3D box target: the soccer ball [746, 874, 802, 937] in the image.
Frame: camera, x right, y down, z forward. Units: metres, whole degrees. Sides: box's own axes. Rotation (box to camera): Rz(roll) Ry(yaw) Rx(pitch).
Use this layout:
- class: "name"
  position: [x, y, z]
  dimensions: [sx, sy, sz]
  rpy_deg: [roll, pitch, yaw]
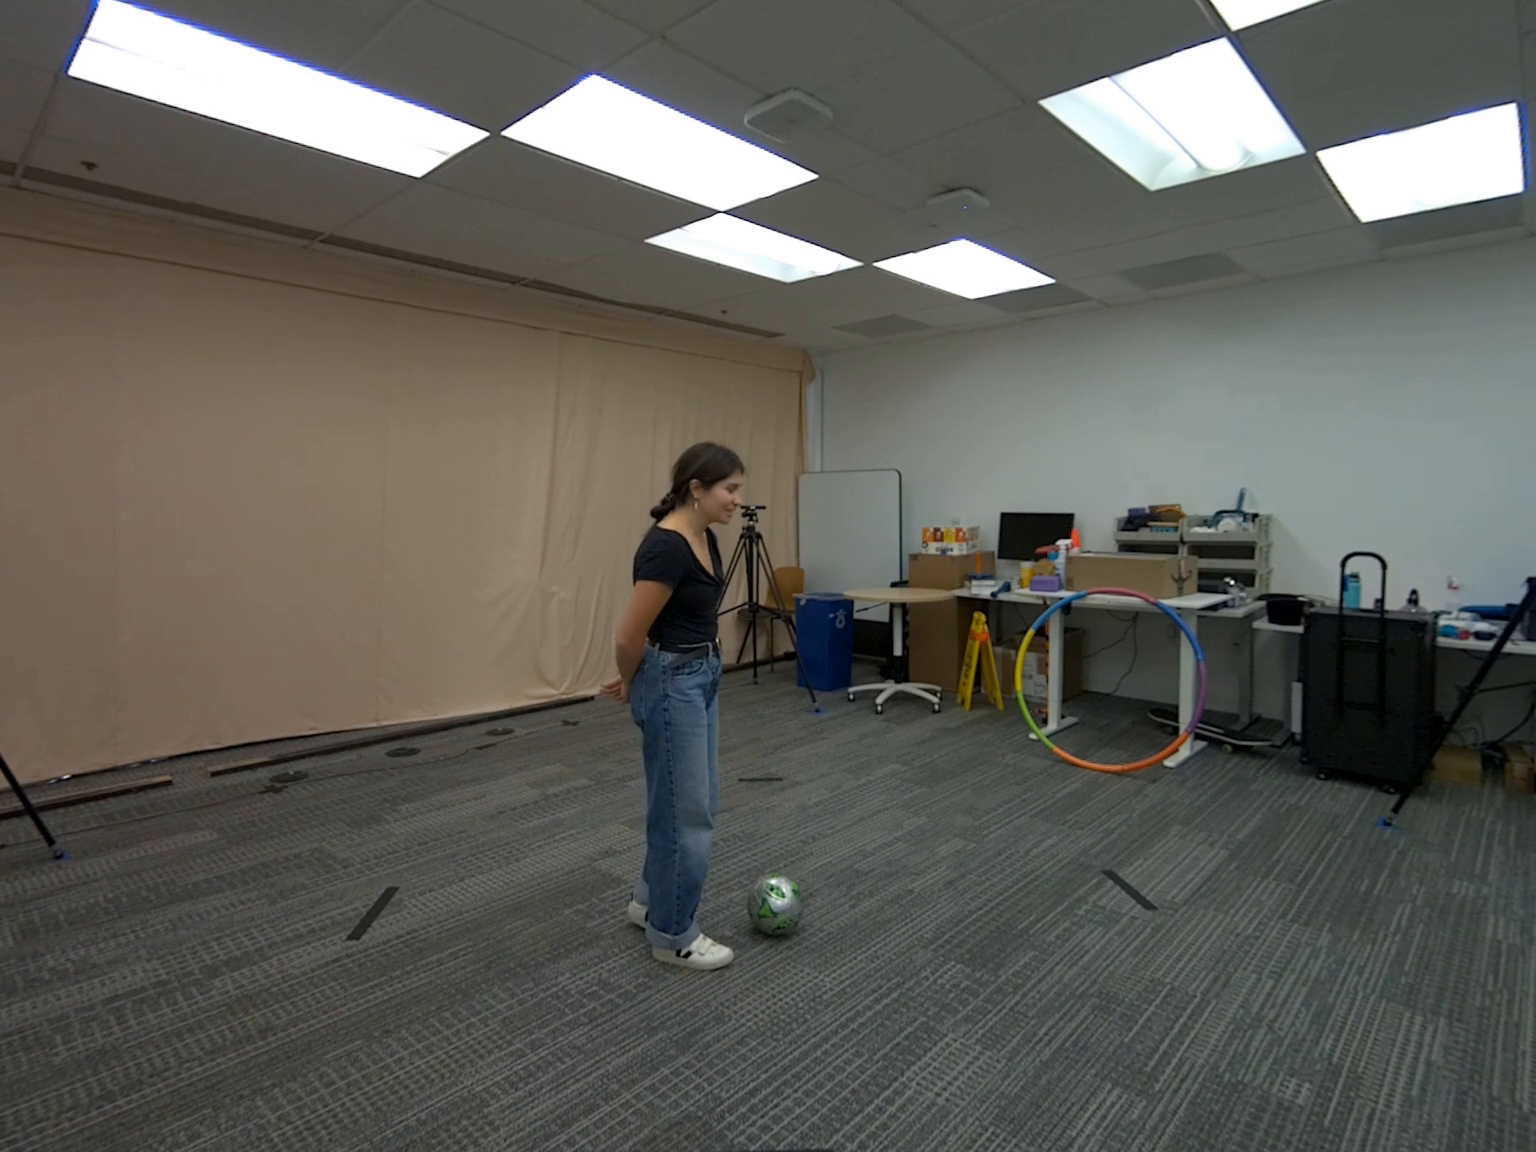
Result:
- class: "soccer ball"
  position: [0.037, 1.071, 2.743]
  dimensions: [0.187, 0.187, 0.188]
  rpy_deg: [0, 4, -2]
